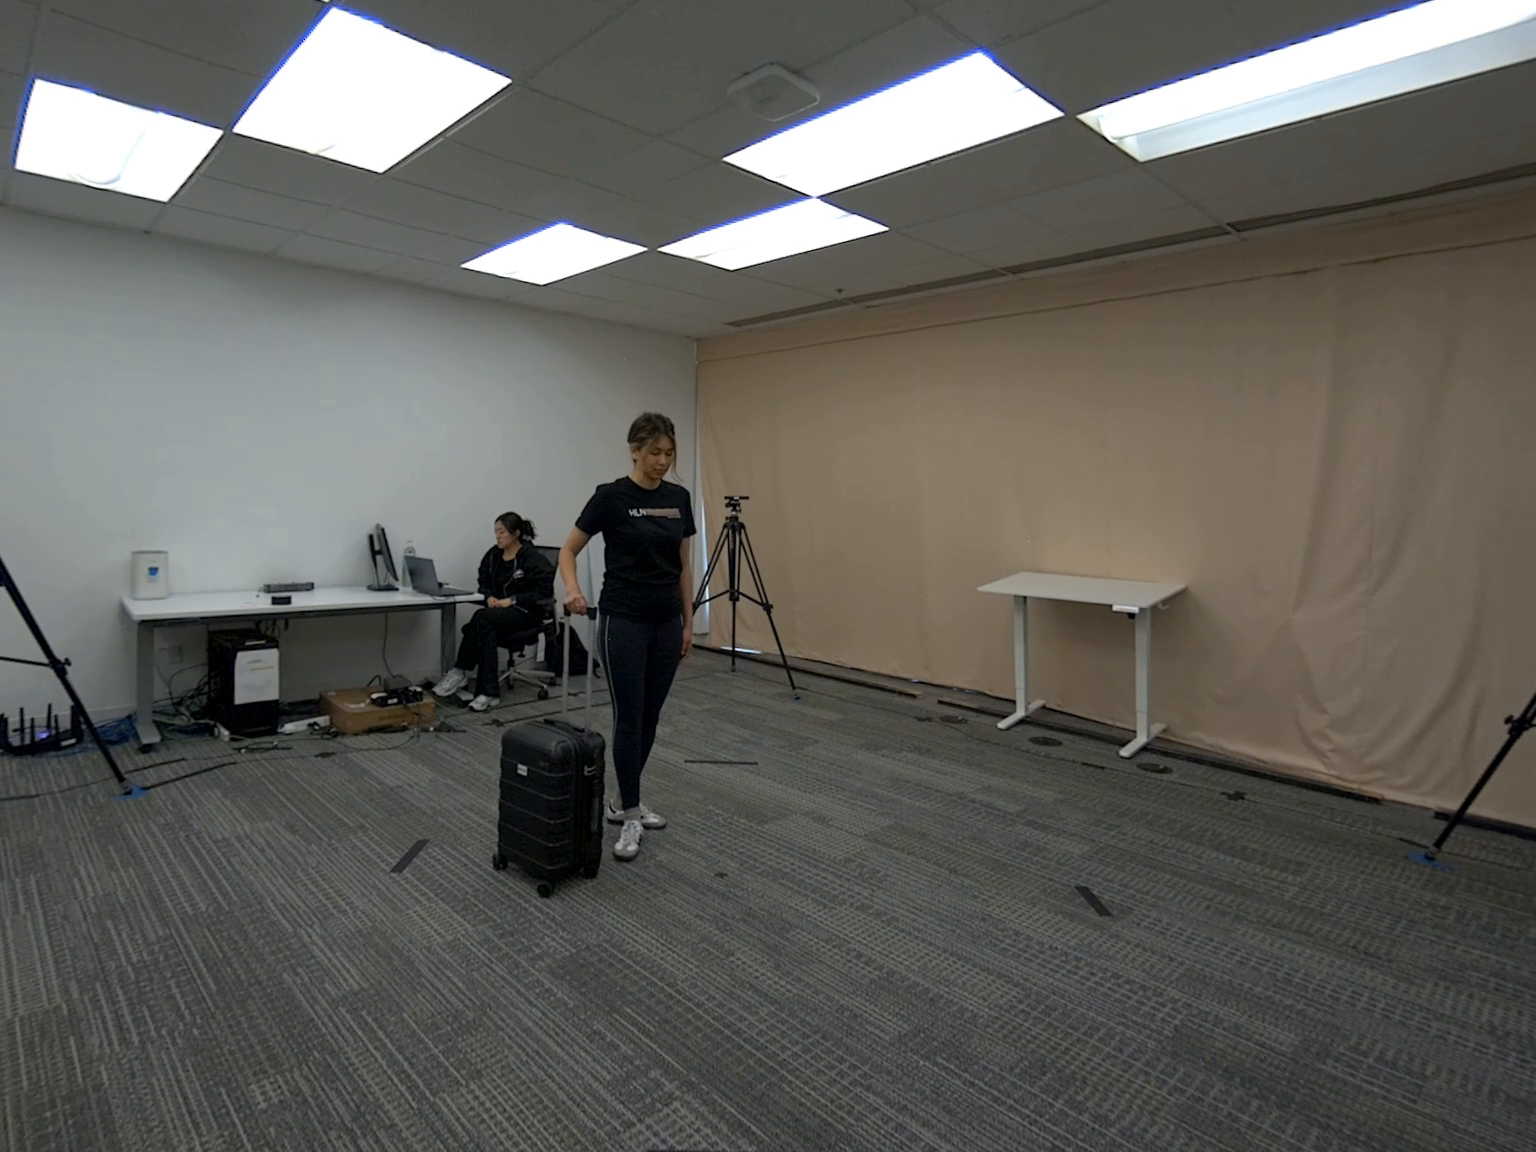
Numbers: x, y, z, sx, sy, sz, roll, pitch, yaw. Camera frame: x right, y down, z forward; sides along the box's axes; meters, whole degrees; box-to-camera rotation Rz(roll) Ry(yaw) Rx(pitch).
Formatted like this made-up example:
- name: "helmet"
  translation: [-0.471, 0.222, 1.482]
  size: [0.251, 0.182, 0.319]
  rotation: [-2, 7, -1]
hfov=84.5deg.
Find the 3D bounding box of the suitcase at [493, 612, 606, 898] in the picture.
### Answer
- name: "suitcase"
  translation: [-0.800, 0.622, 3.050]
  size: [0.394, 0.975, 0.251]
  rotation: [6, 6, 39]
